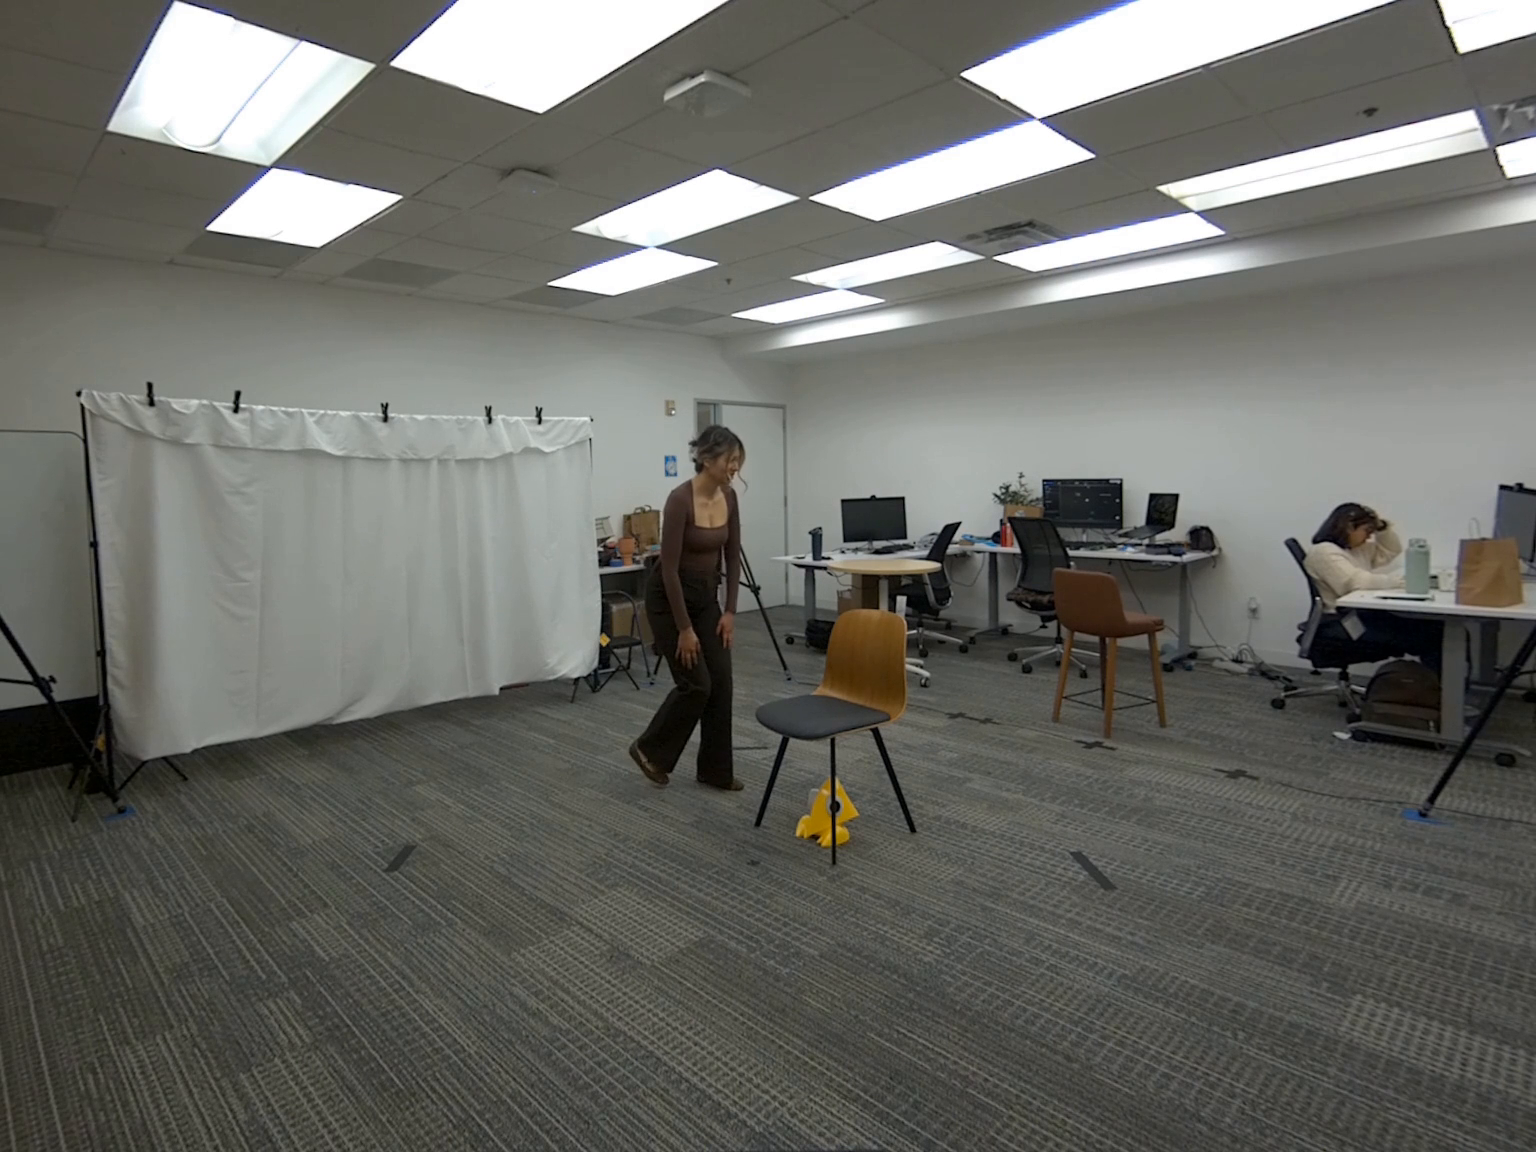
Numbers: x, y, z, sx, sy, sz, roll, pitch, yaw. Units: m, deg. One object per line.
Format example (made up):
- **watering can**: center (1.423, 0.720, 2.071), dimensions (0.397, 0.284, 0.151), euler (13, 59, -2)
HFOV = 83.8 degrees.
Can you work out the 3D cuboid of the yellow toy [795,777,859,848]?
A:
- **yellow toy**: center (0.225, 0.901, 3.336), dimensions (0.211, 0.230, 0.188), euler (4, 6, 45)
